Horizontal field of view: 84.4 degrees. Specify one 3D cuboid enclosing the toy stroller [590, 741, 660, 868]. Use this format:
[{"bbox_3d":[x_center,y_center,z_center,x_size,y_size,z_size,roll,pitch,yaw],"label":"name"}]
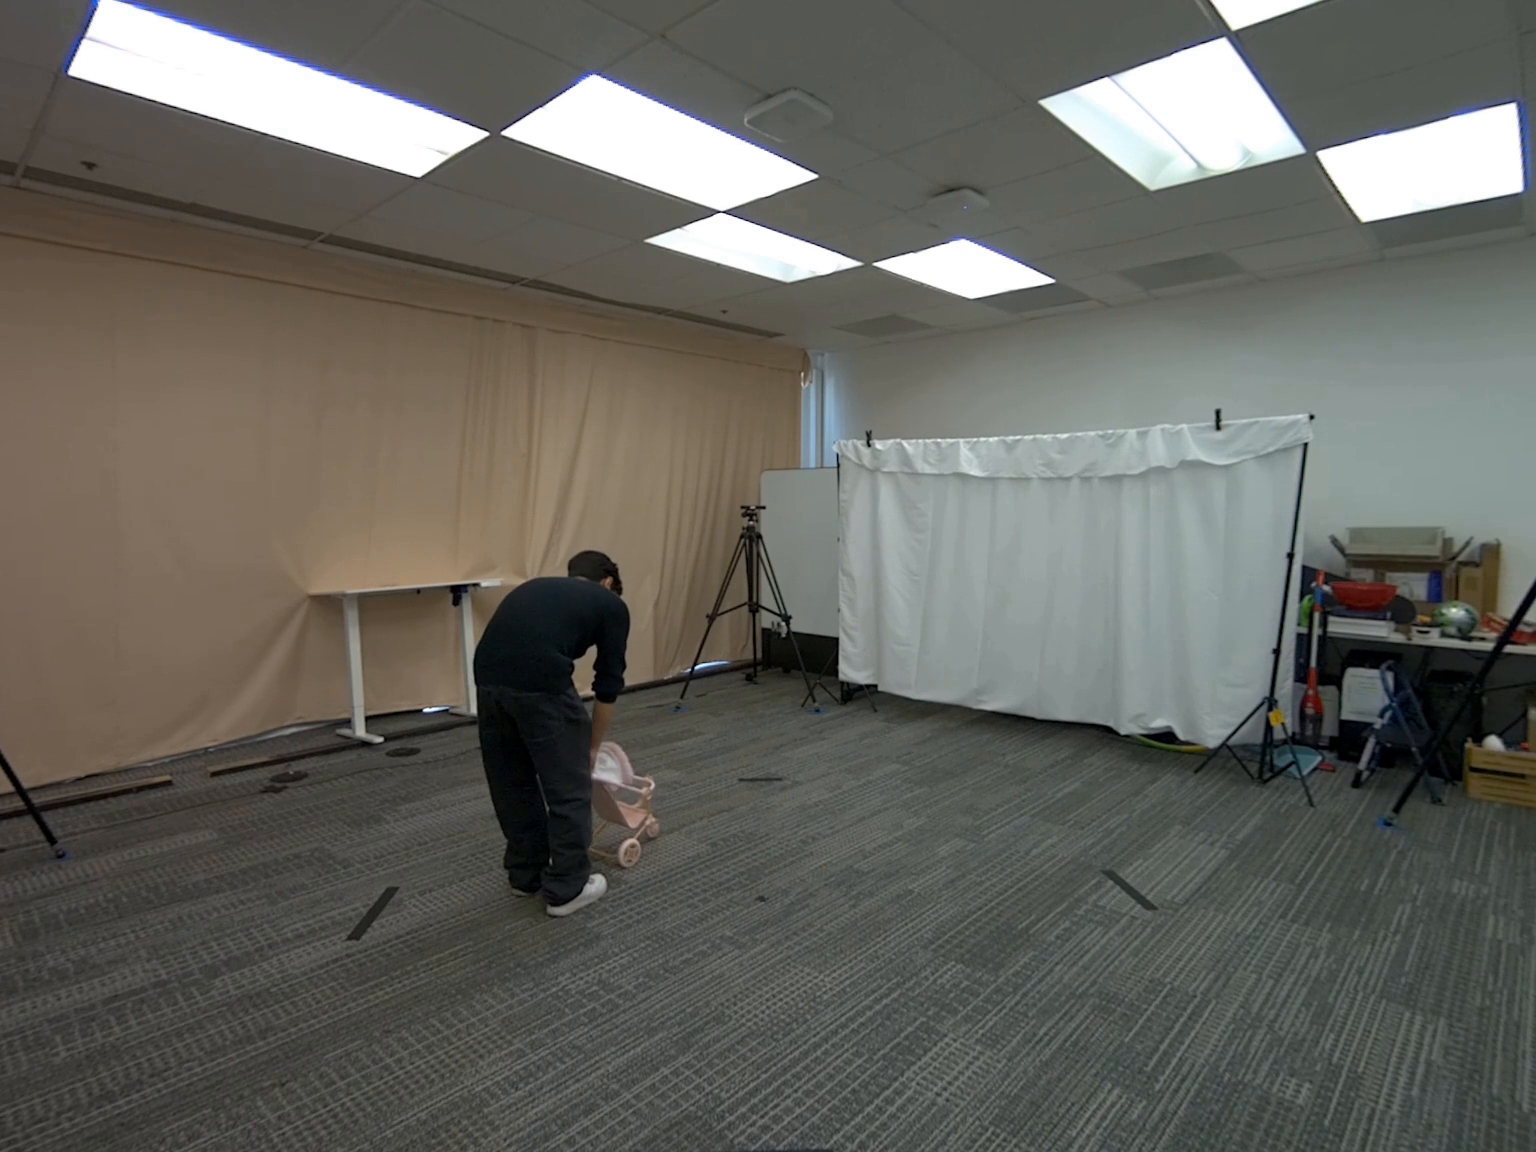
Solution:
[{"bbox_3d":[-0.604,0.895,3.368,0.291,0.527,0.335,3,24,42],"label":"toy stroller"}]
